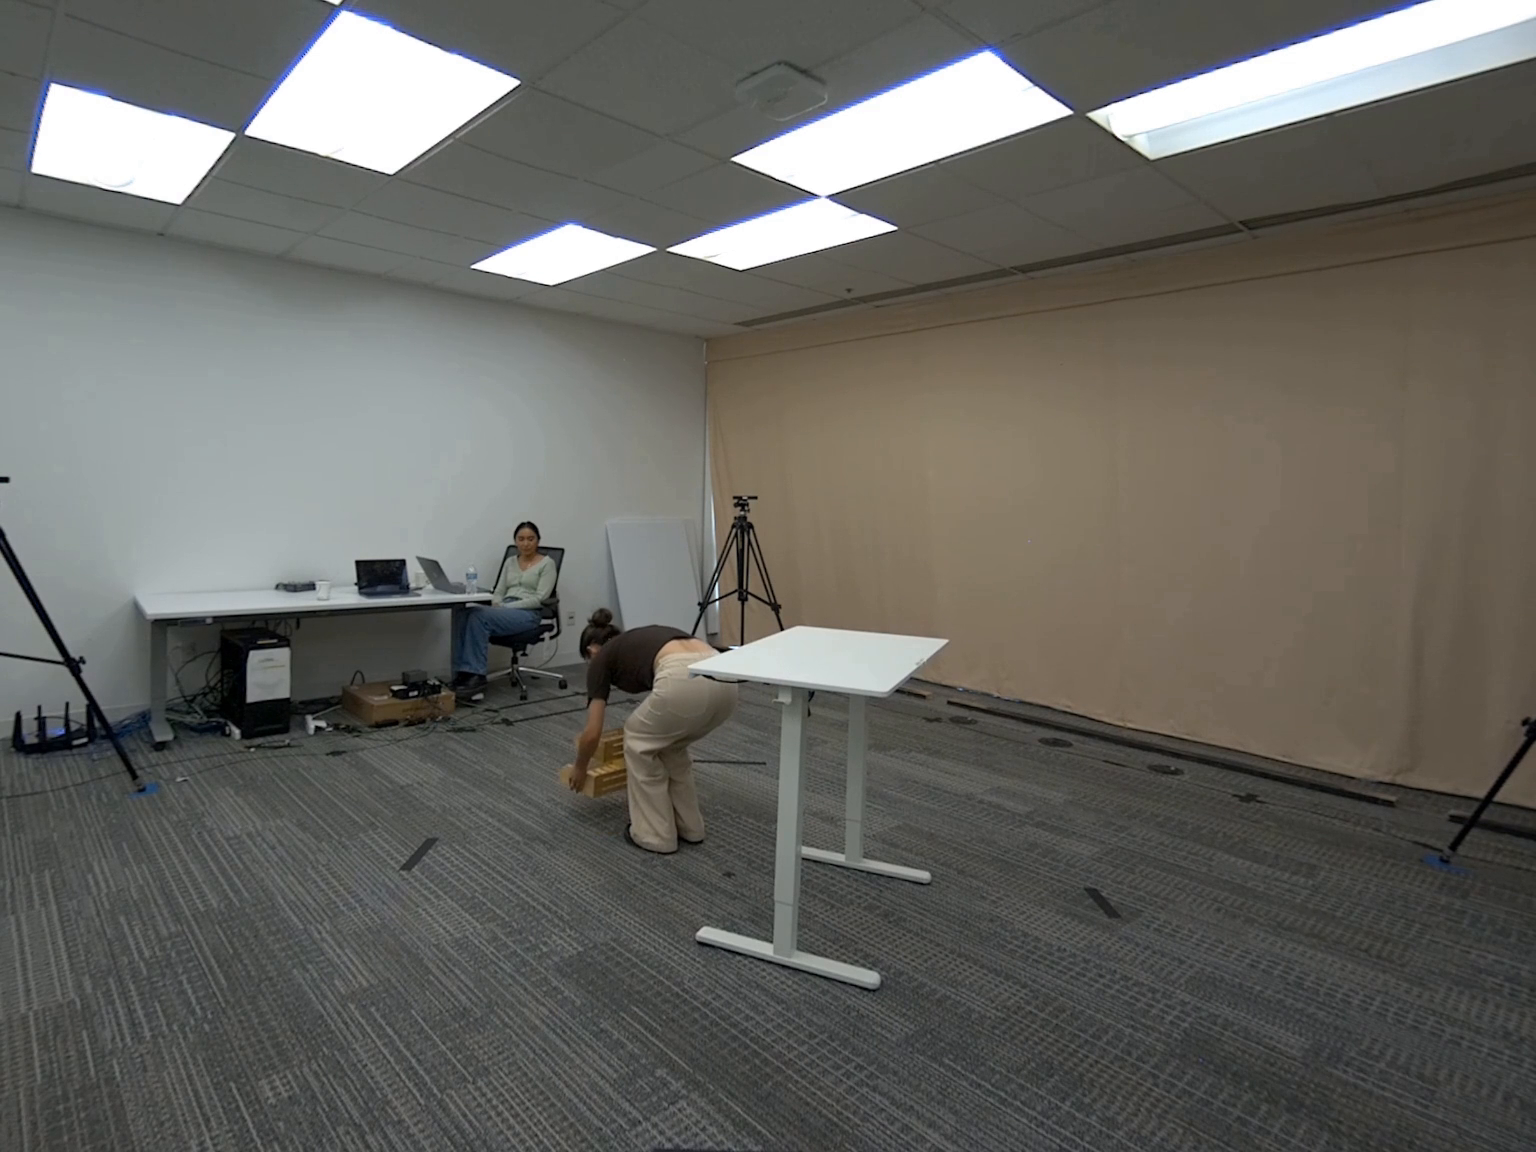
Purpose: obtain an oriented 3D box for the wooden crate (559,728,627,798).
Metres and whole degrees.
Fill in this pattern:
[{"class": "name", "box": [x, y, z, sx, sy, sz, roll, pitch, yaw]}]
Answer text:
[{"class": "wooden crate", "box": [-0.707, 0.775, 3.663, 0.310, 0.272, 0.317, 9, 7, 39]}]
